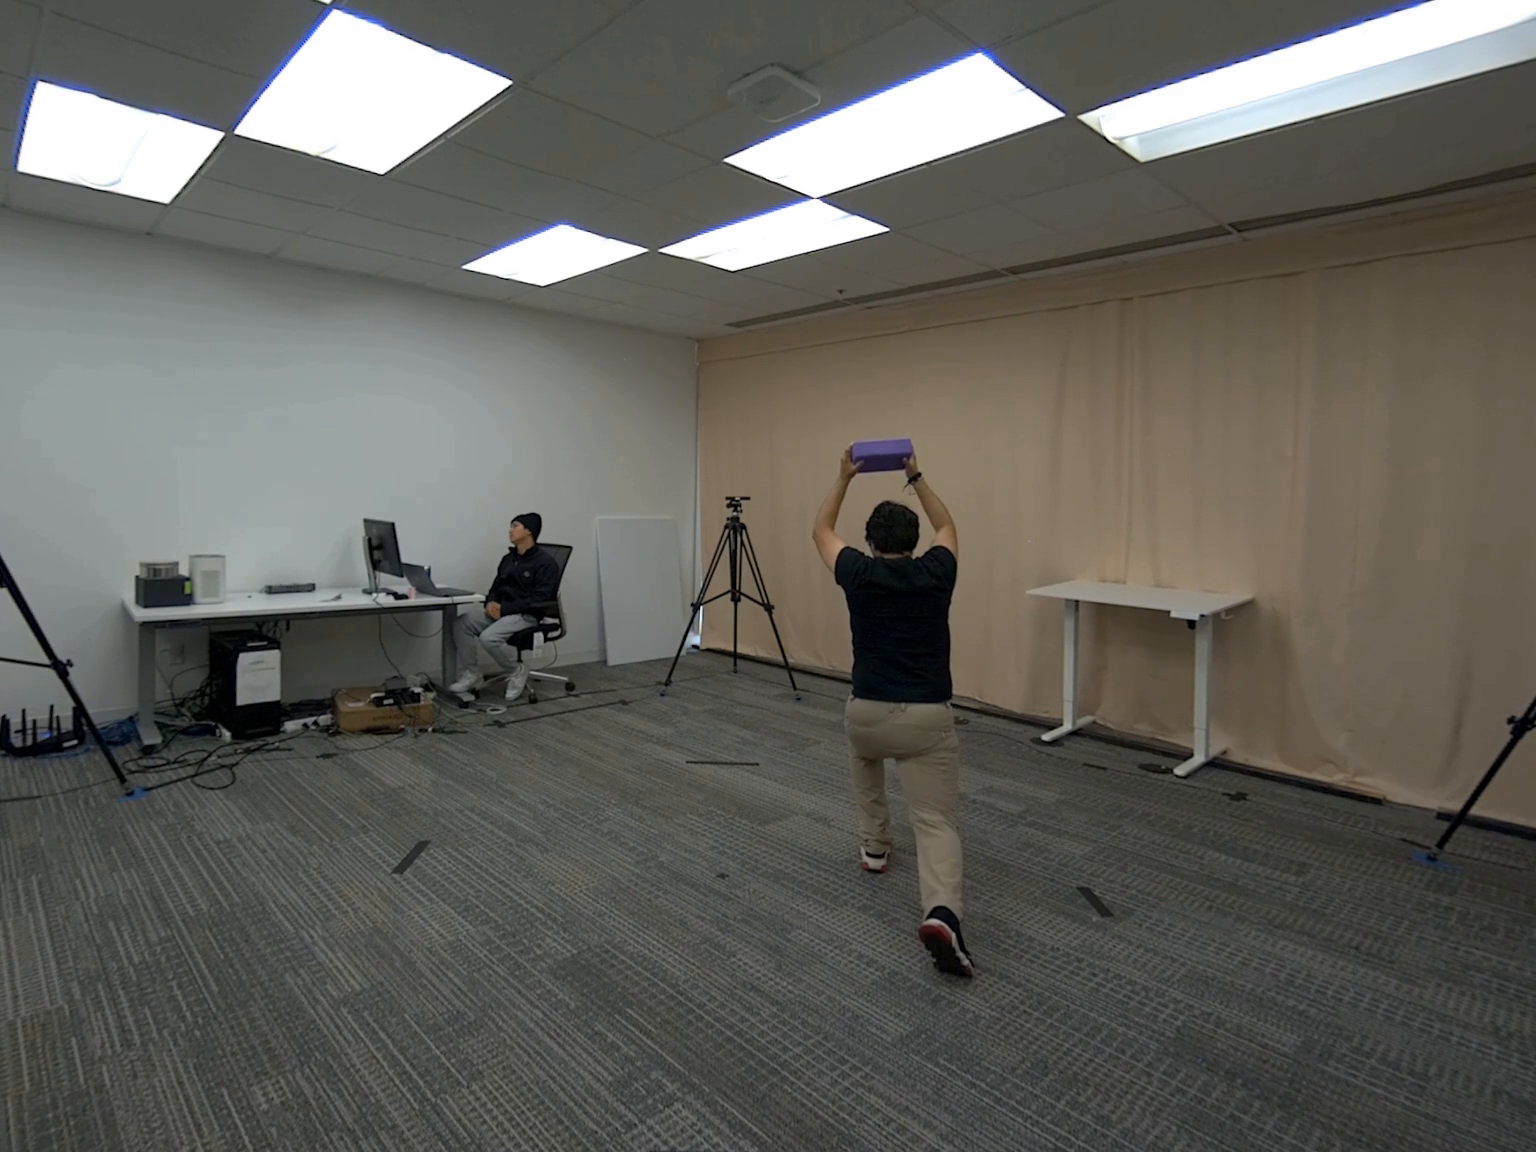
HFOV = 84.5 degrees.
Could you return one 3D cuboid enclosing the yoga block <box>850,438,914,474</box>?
[{"bbox_3d":[0.433,-0.483,3.341,0.229,0.078,0.147,-5,-23,-4],"label":"yoga block"}]
